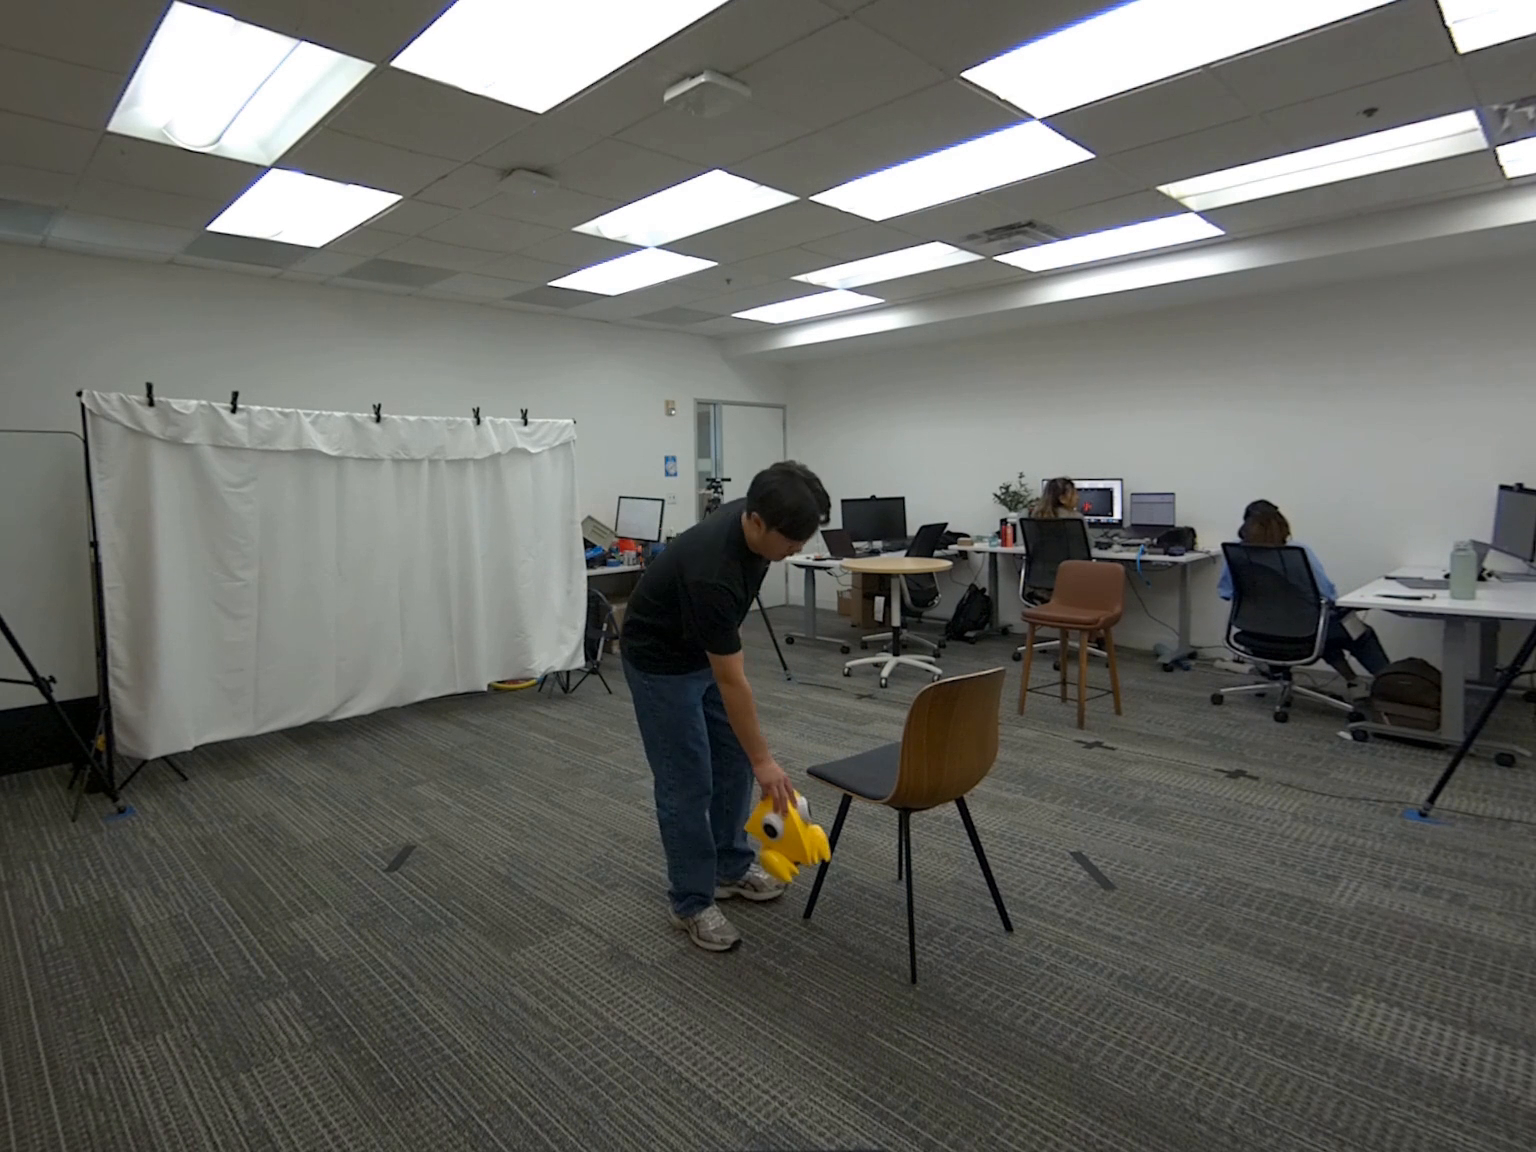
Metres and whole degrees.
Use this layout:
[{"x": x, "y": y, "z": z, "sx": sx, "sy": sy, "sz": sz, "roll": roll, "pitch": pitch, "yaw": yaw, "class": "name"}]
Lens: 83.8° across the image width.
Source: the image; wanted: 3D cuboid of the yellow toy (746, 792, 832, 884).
[{"x": 0.062, "y": 0.697, "z": 2.418, "sx": 0.202, "sy": 0.225, "sz": 0.200, "roll": -21, "pitch": 27, "yaw": -21, "class": "yellow toy"}]
